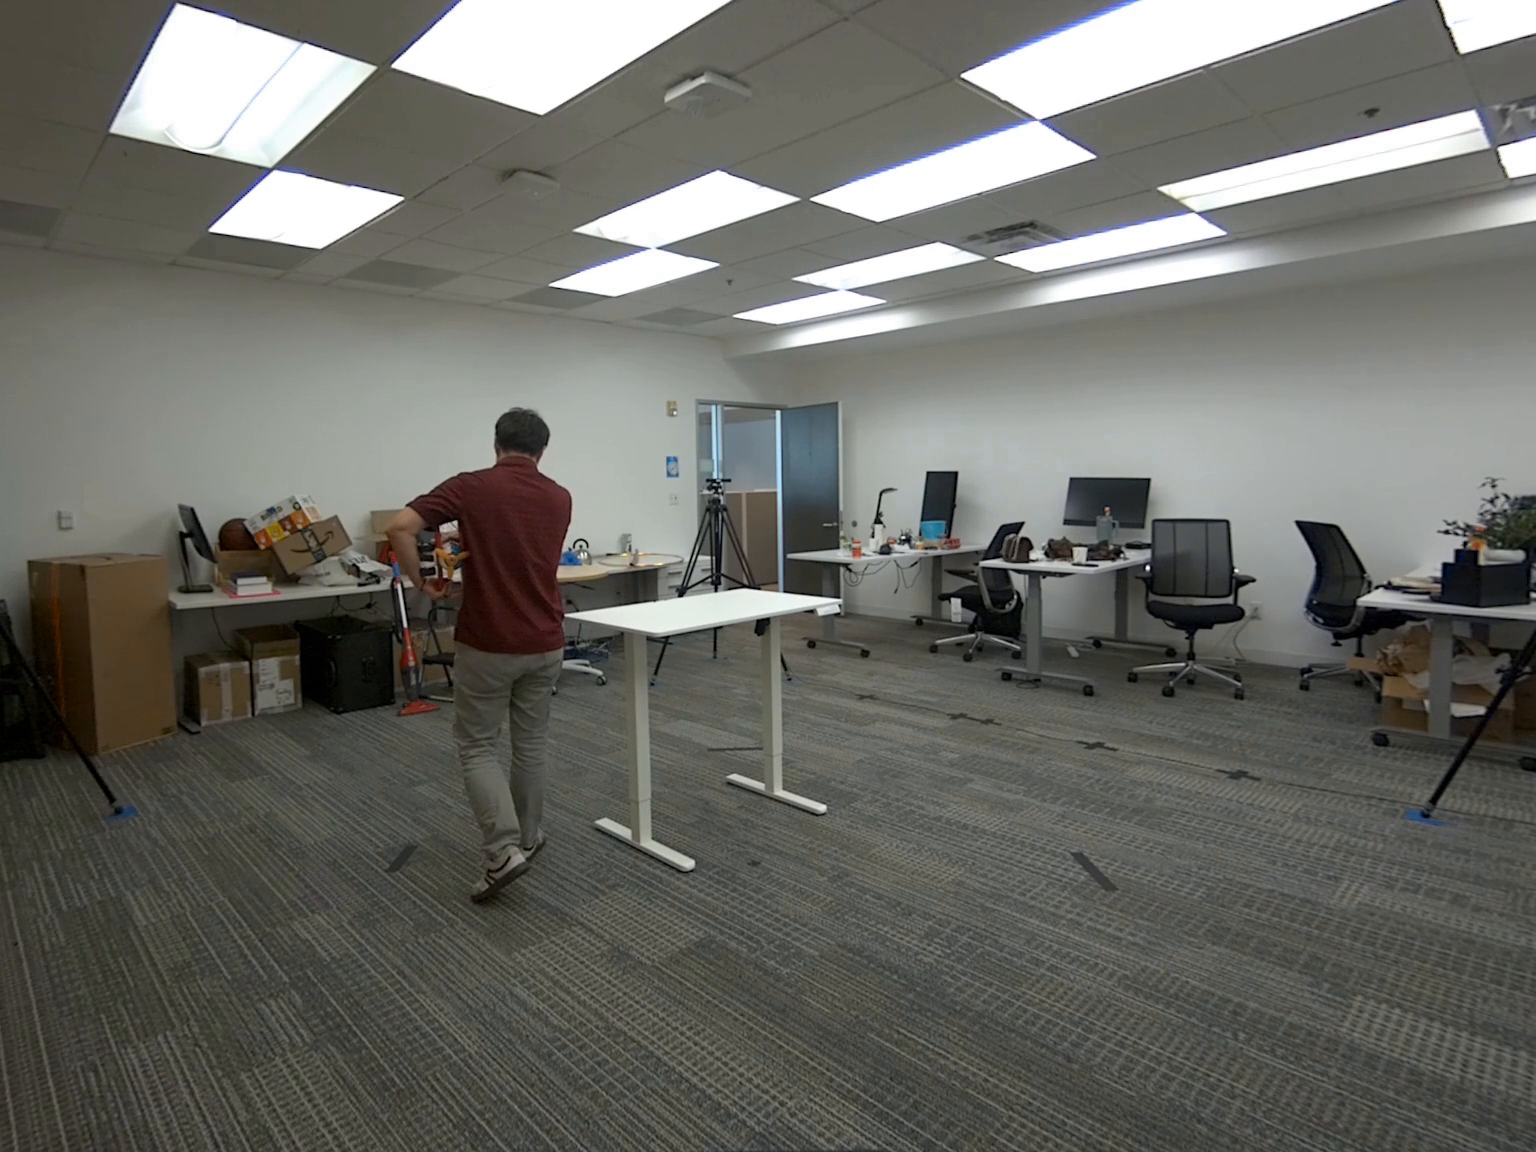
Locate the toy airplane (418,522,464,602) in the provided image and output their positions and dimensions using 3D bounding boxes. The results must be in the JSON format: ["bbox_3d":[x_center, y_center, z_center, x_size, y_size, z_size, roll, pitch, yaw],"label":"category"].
[{"bbox_3d":[-1.129,-0.096,2.998,0.155,0.245,0.267,-2,41,-9],"label":"toy airplane"}]
